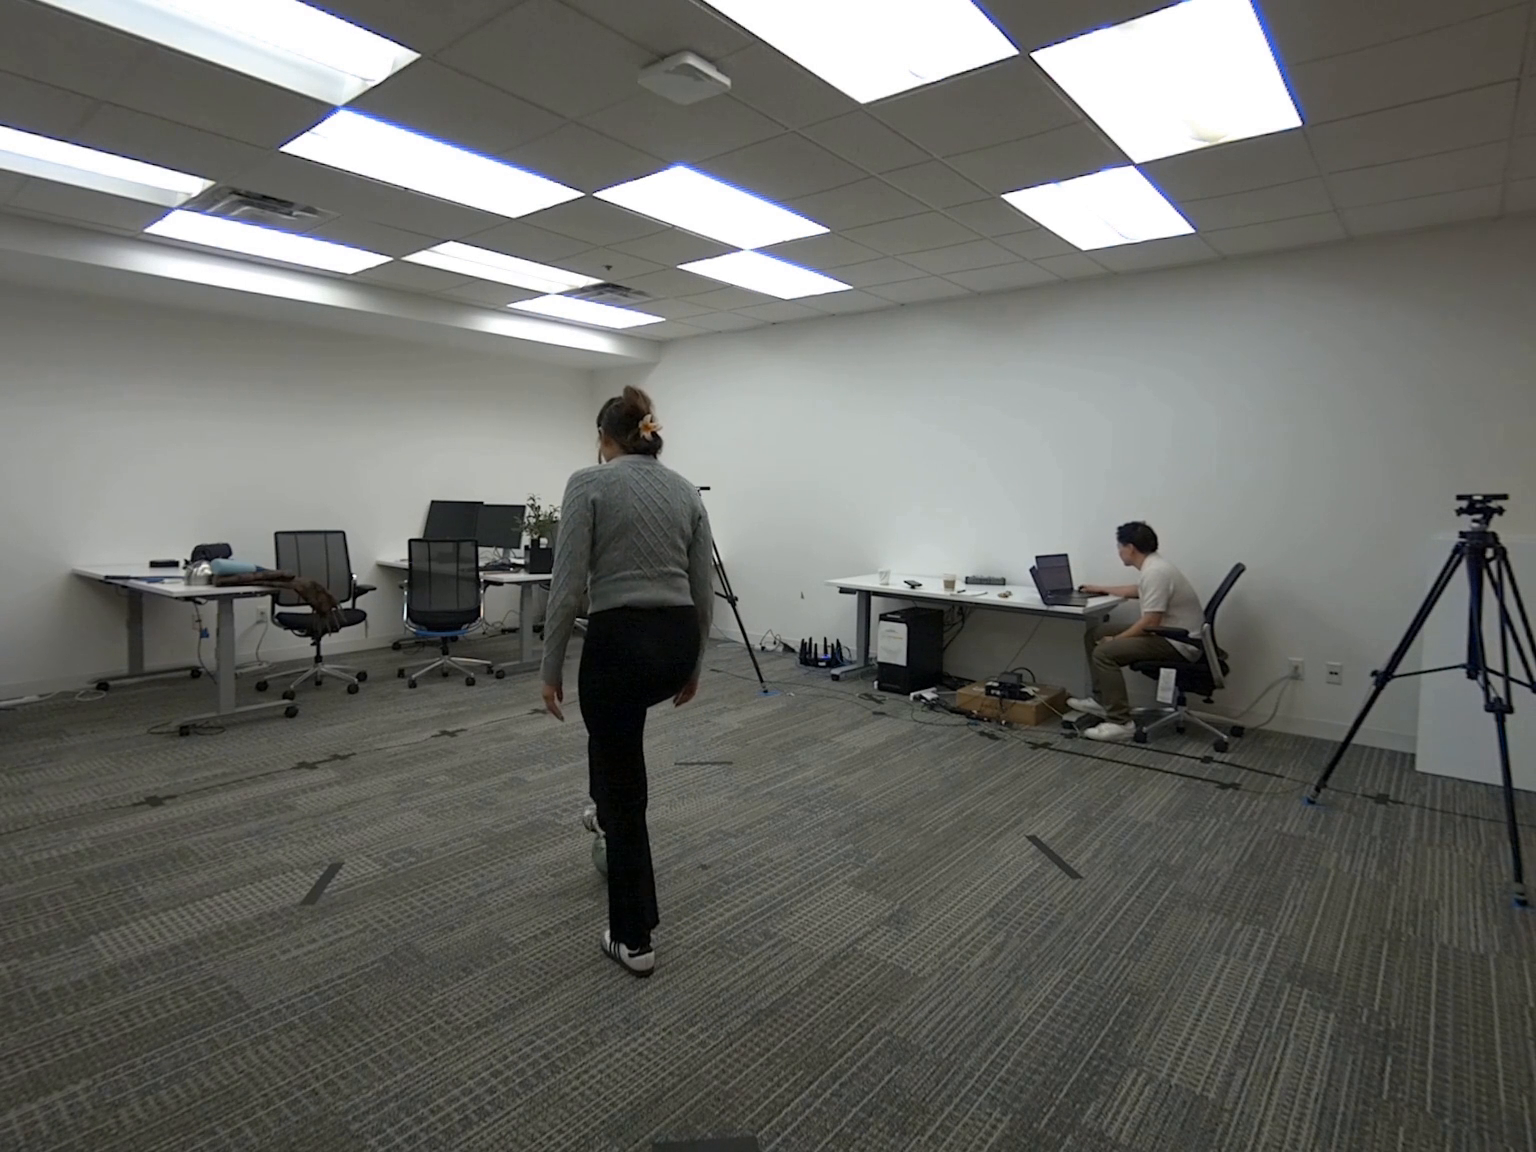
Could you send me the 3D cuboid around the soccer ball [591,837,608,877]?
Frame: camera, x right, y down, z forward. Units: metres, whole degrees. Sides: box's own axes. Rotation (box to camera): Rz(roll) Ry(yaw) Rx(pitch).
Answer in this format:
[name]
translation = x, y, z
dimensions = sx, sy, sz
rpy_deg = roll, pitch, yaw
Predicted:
[soccer ball]
translation = -0.549, 0.968, 3.018
dimensions = 0.187, 0.187, 0.188
rpy_deg = 1, 4, -2
